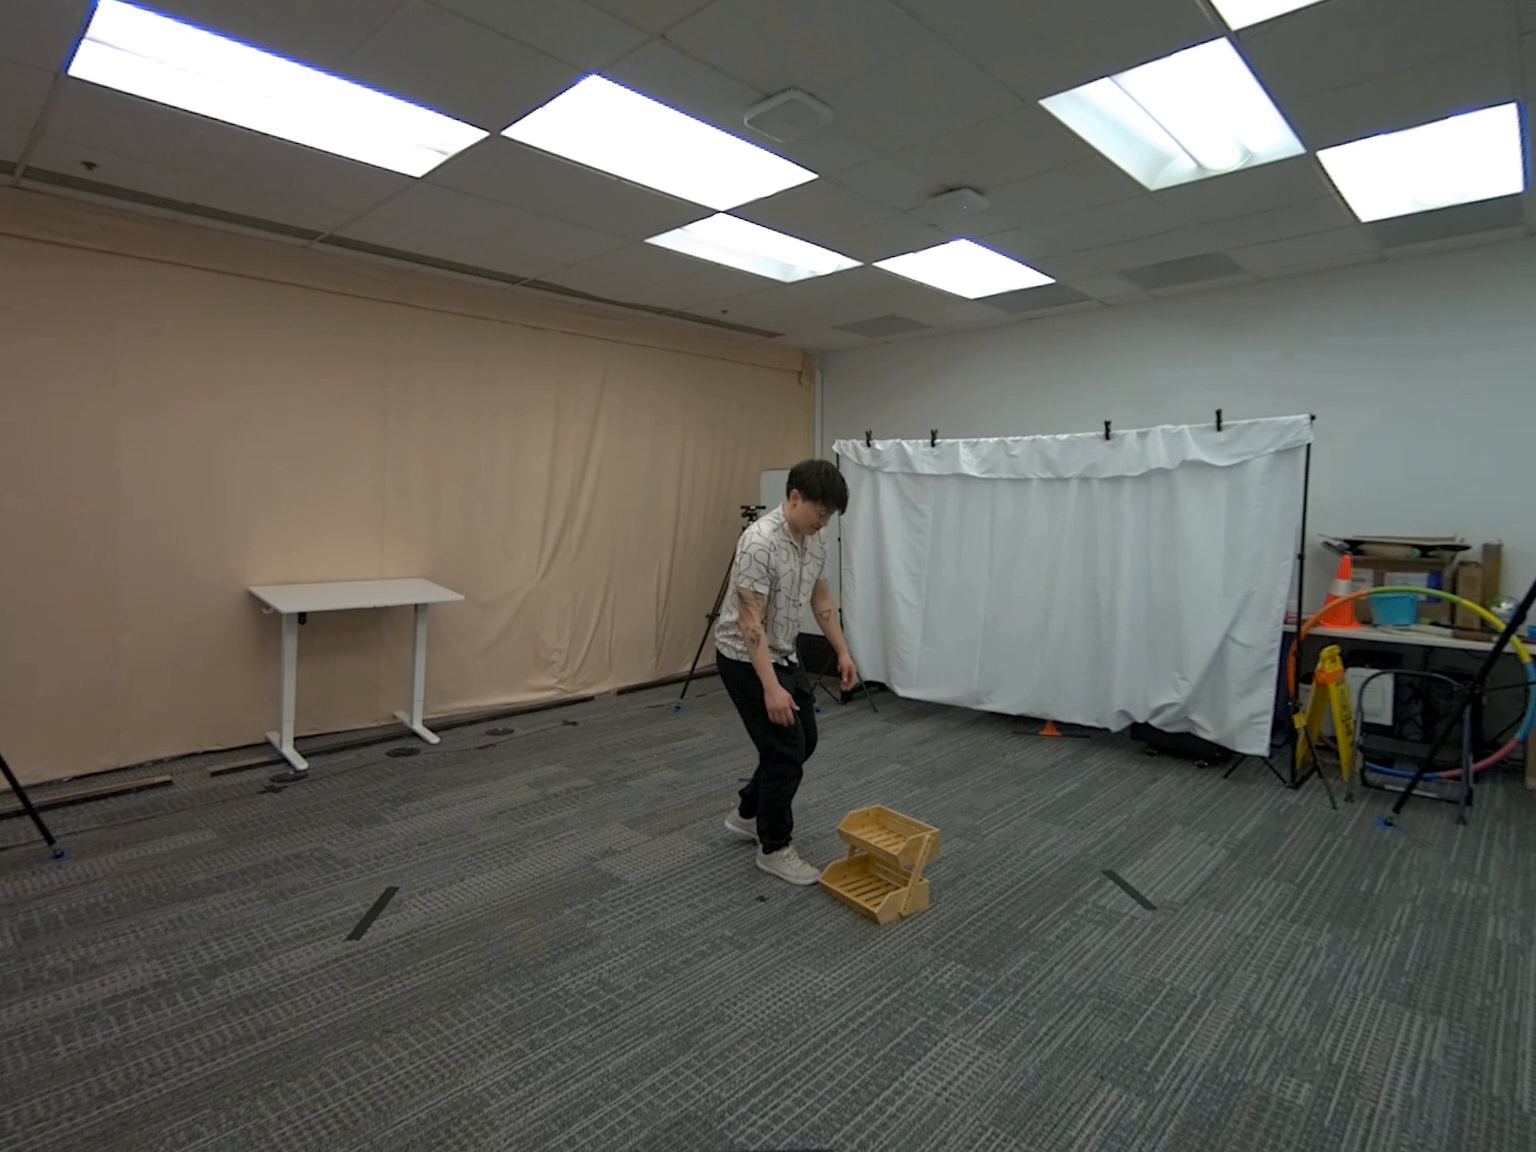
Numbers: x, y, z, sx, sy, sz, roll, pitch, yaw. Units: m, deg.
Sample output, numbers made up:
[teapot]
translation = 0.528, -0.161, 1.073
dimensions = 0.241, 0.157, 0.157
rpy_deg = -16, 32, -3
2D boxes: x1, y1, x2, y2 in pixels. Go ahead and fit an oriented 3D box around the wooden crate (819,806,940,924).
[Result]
[wooden crate]
translation = 0.395, 1.006, 2.982
dimensions = 0.293, 0.273, 0.335
rpy_deg = -2, 5, -35
